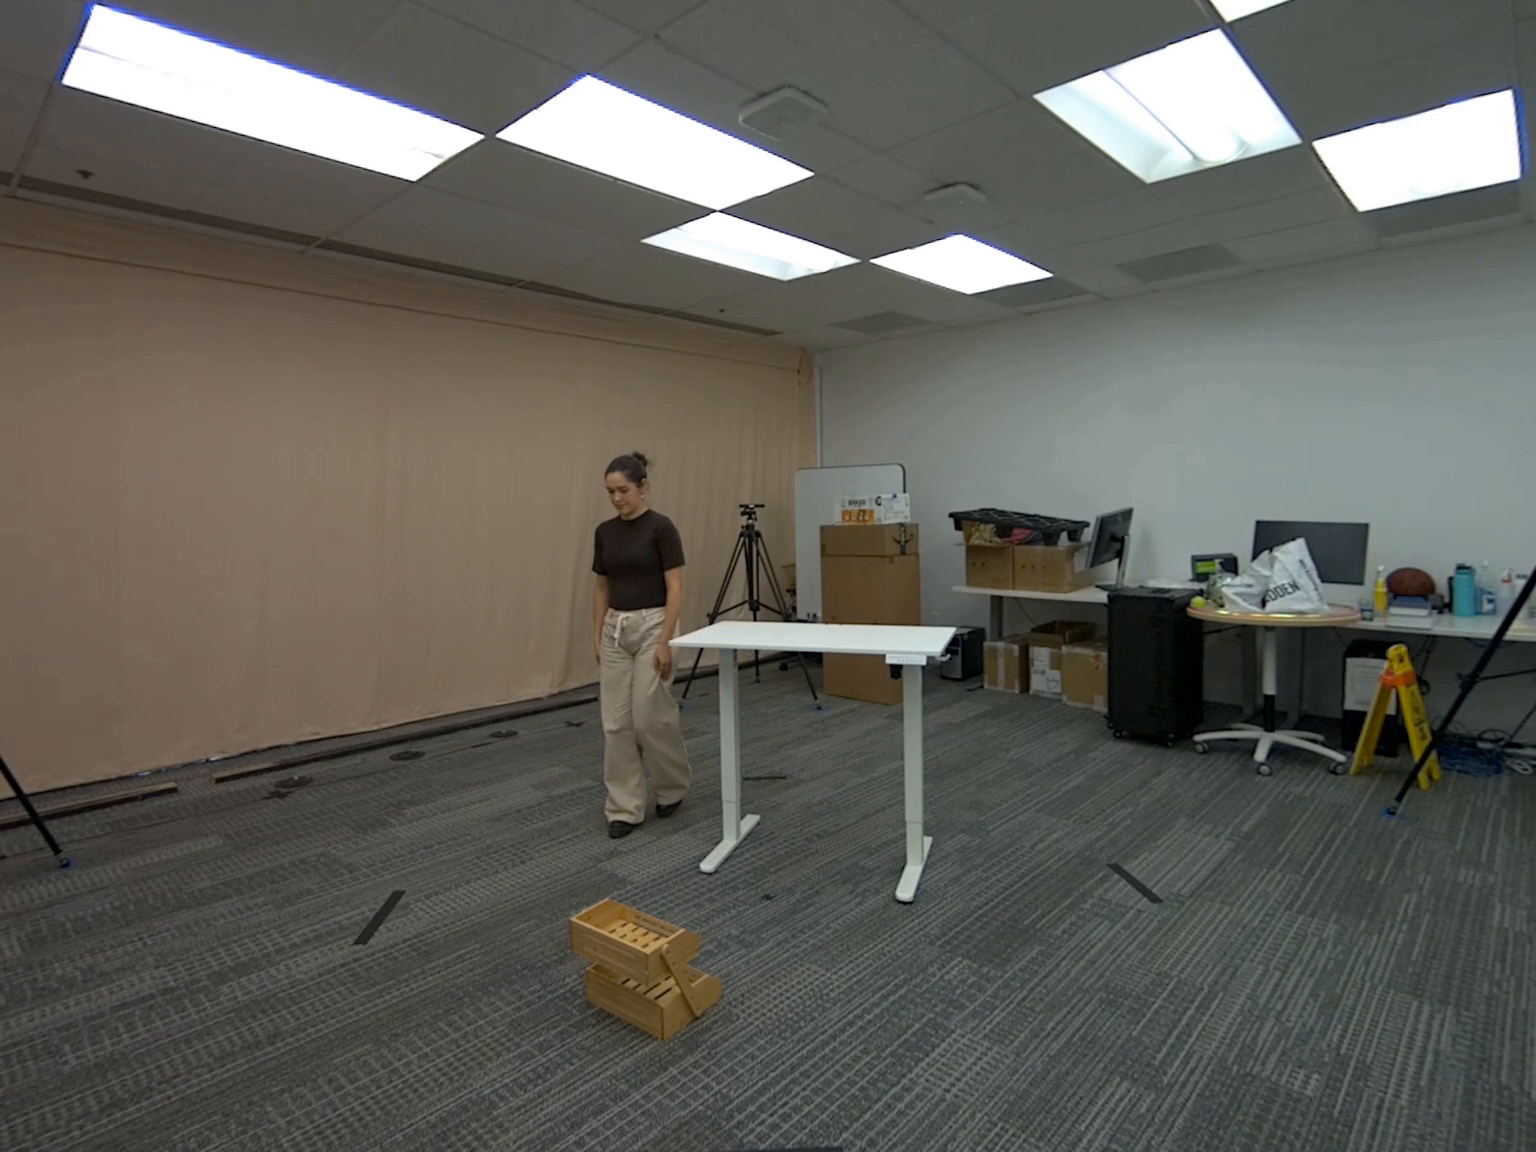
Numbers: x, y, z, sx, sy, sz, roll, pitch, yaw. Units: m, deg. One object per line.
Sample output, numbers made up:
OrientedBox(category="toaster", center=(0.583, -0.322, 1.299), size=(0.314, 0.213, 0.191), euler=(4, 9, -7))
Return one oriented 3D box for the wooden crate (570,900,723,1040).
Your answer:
OrientedBox(category="wooden crate", center=(-0.342, 1.070, 2.348), size=(0.335, 0.272, 0.293), euler=(2, 5, 37))
